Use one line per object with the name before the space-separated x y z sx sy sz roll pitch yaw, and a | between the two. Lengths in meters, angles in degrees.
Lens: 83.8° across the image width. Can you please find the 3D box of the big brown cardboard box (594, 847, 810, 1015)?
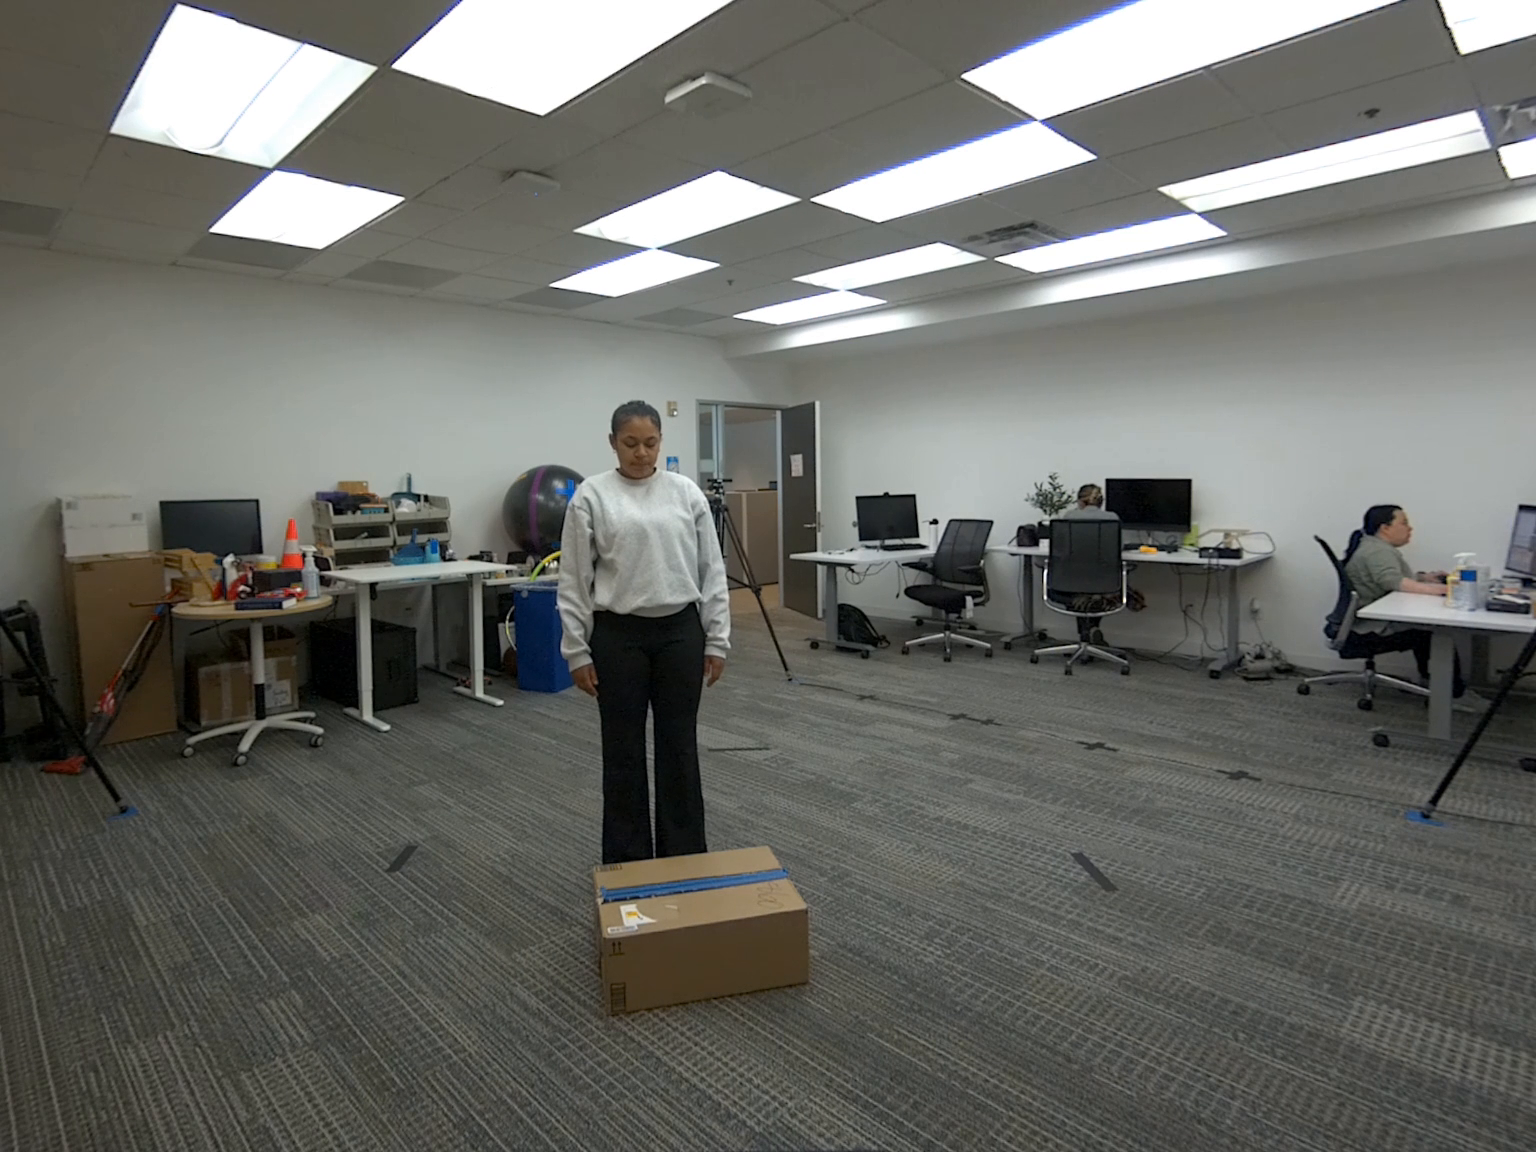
big brown cardboard box | -0.211 1.007 2.493 0.581 0.232 0.425 -2 6 -14
